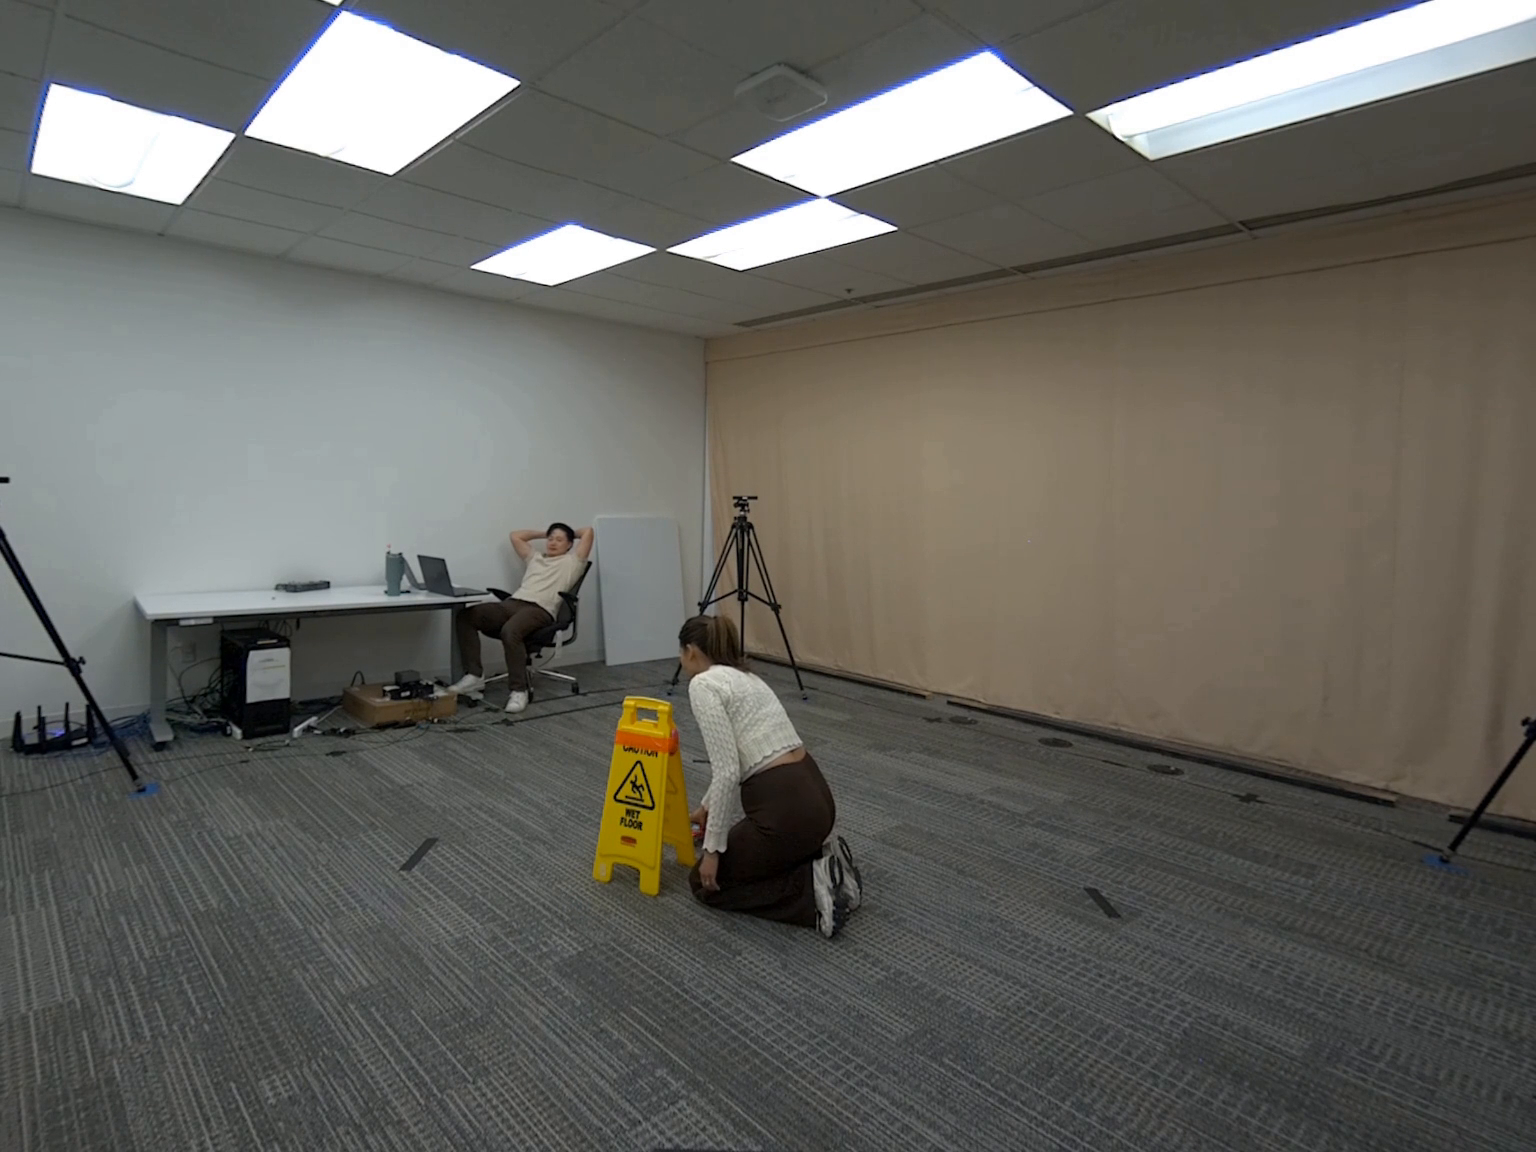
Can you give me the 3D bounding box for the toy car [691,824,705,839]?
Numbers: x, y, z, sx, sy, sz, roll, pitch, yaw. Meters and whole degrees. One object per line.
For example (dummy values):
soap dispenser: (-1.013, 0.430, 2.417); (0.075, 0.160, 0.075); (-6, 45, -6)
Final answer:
toy car: (-0.280, 1.042, 3.456); (0.133, 0.082, 0.251); (5, 17, 36)
